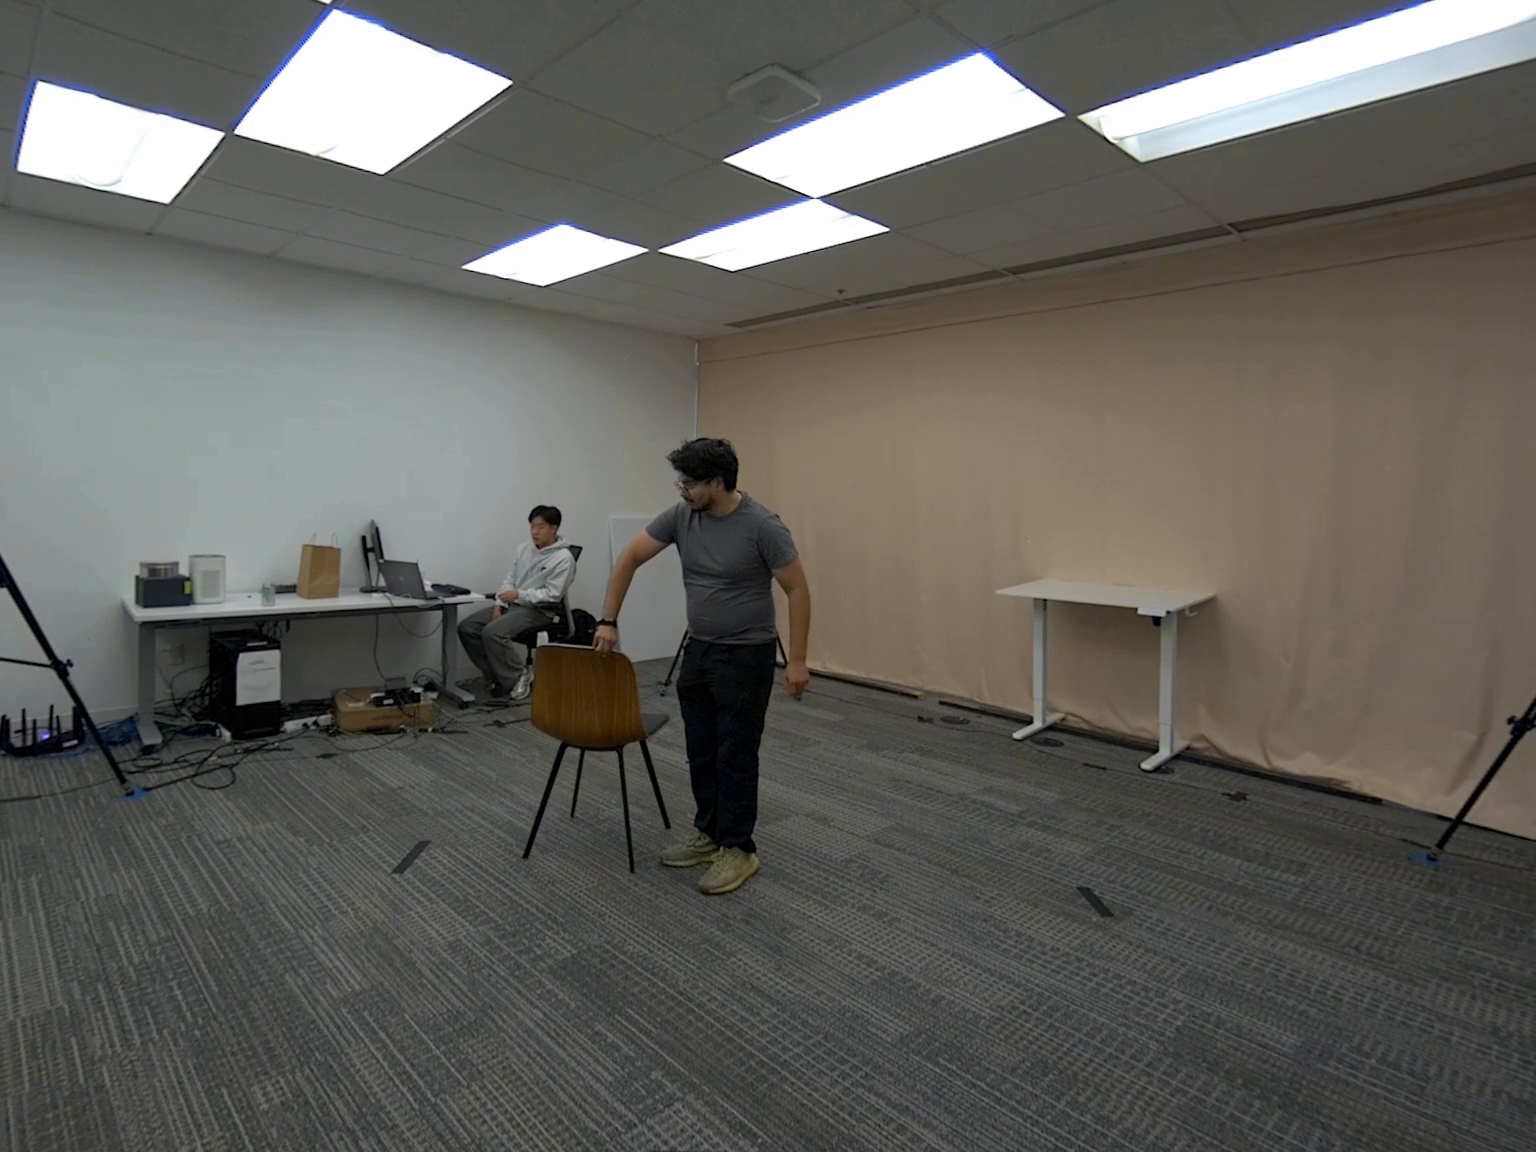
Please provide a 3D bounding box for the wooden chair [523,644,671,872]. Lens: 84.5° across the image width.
[{"bbox_3d":[-0.659,0.643,3.355,0.483,0.872,0.521,2,8,12],"label":"wooden chair"}]
